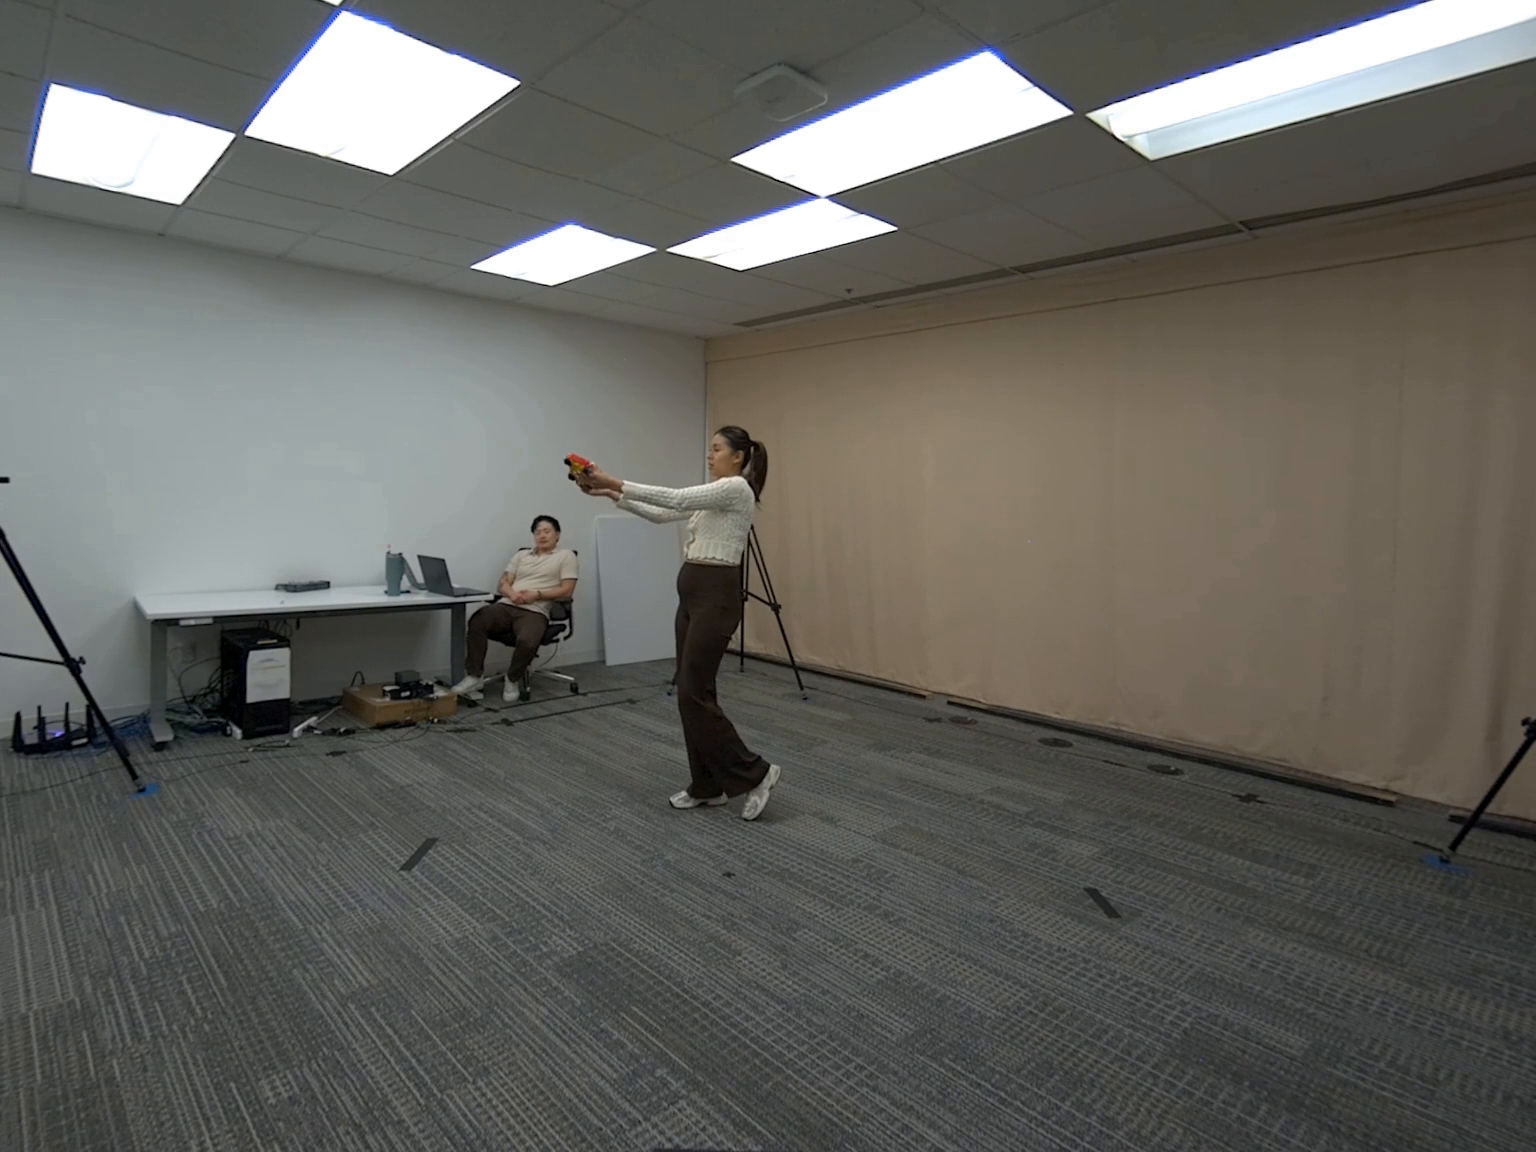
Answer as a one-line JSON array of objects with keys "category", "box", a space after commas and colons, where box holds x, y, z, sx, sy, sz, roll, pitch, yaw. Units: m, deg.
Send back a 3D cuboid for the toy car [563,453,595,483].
[{"category": "toy car", "box": [-0.788, -0.436, 3.560, 0.131, 0.083, 0.252, 25, -8, 4]}]
